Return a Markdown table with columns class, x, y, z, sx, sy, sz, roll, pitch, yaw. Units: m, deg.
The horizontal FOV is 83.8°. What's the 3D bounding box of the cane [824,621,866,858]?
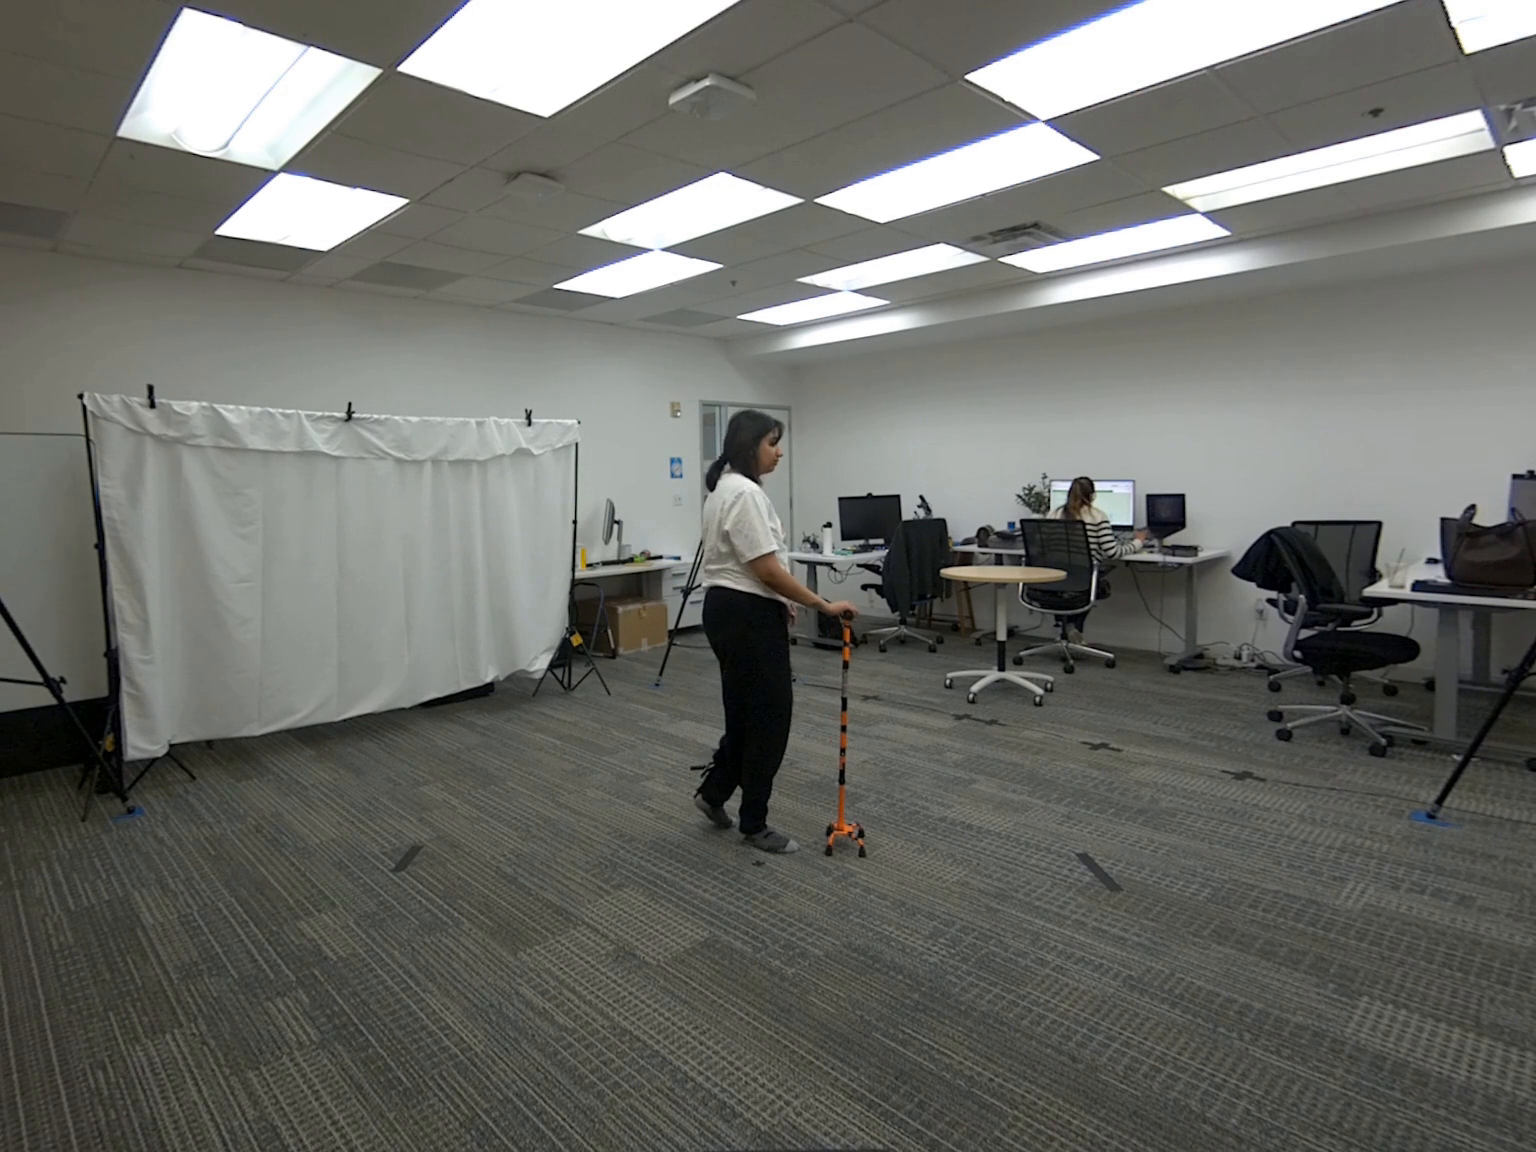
| class | x | y | z | sx | sy | sz | roll | pitch | yaw |
| --- | --- | --- | --- | --- | --- | --- | --- | --- | --- |
| cane | 0.302 | 0.570 | 3.220 | 0.153 | 0.904 | 0.206 | 2 | 4 | 6 |
